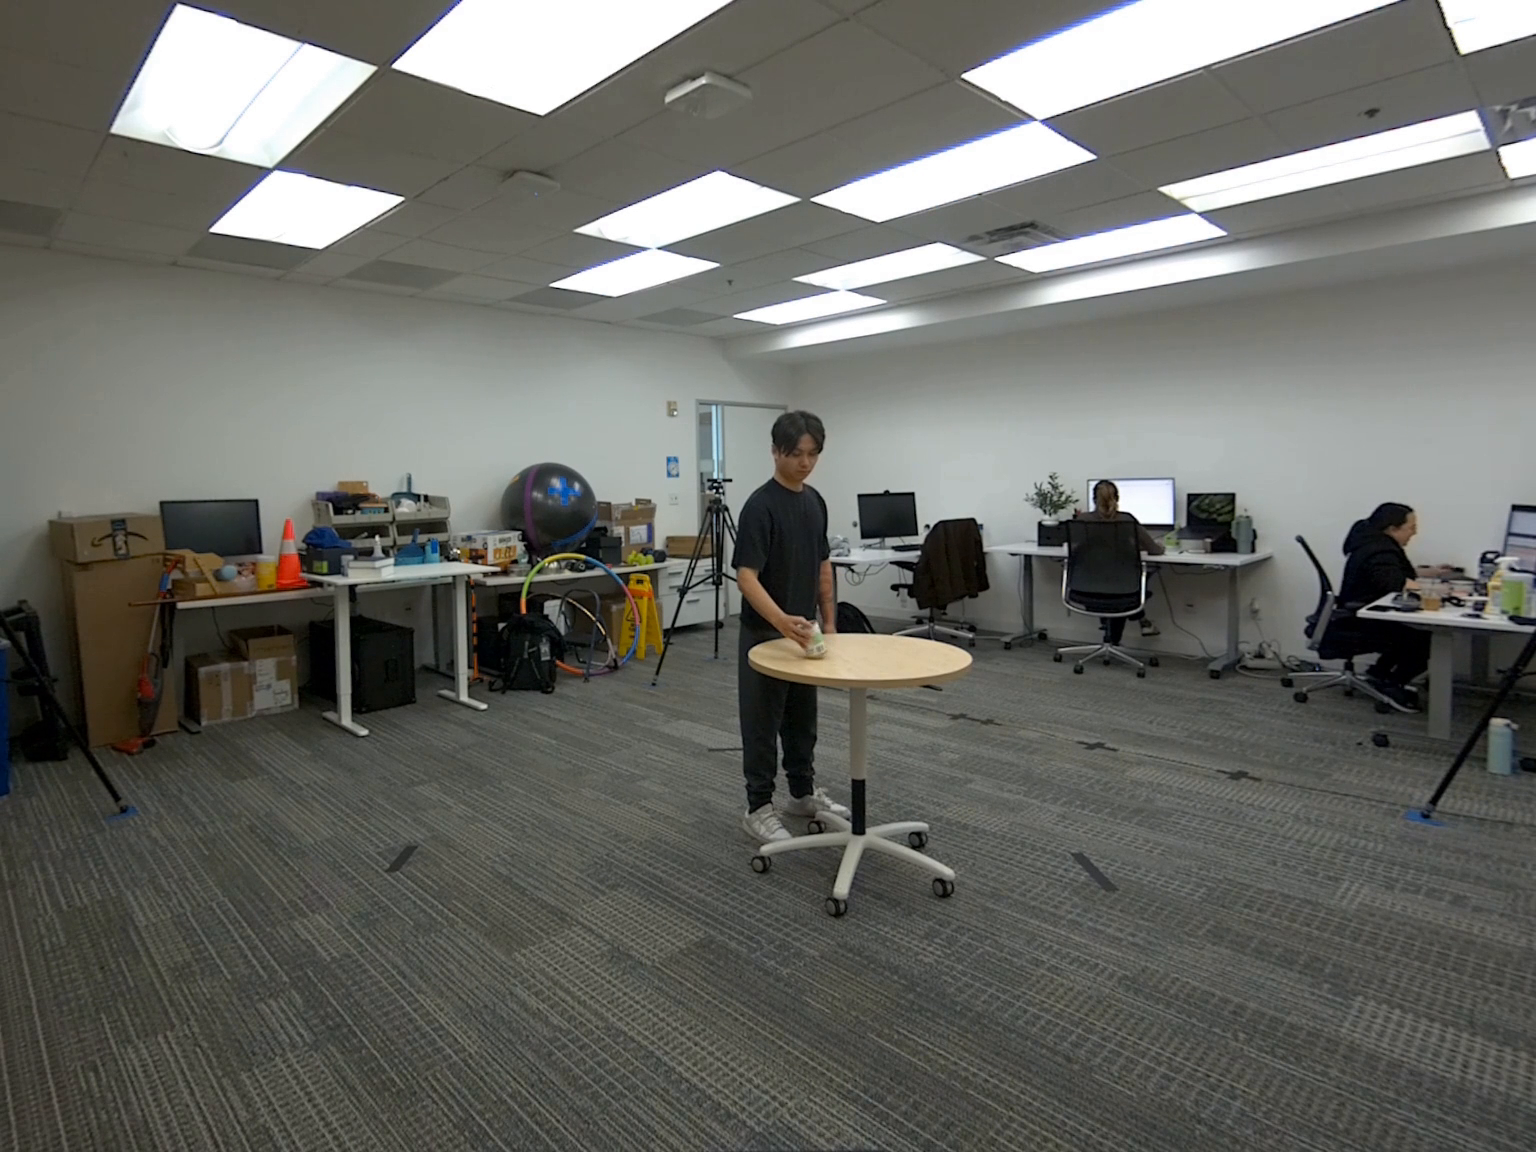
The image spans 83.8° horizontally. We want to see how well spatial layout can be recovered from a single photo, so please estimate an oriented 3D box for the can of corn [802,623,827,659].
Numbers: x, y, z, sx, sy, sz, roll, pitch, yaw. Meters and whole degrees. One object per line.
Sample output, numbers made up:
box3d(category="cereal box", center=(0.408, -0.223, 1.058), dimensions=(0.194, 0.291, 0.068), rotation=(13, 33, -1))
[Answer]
box3d(category="can of corn", center=(0.151, 0.220, 2.909), dimensions=(0.074, 0.111, 0.074), rotation=(-22, 2, -1))
